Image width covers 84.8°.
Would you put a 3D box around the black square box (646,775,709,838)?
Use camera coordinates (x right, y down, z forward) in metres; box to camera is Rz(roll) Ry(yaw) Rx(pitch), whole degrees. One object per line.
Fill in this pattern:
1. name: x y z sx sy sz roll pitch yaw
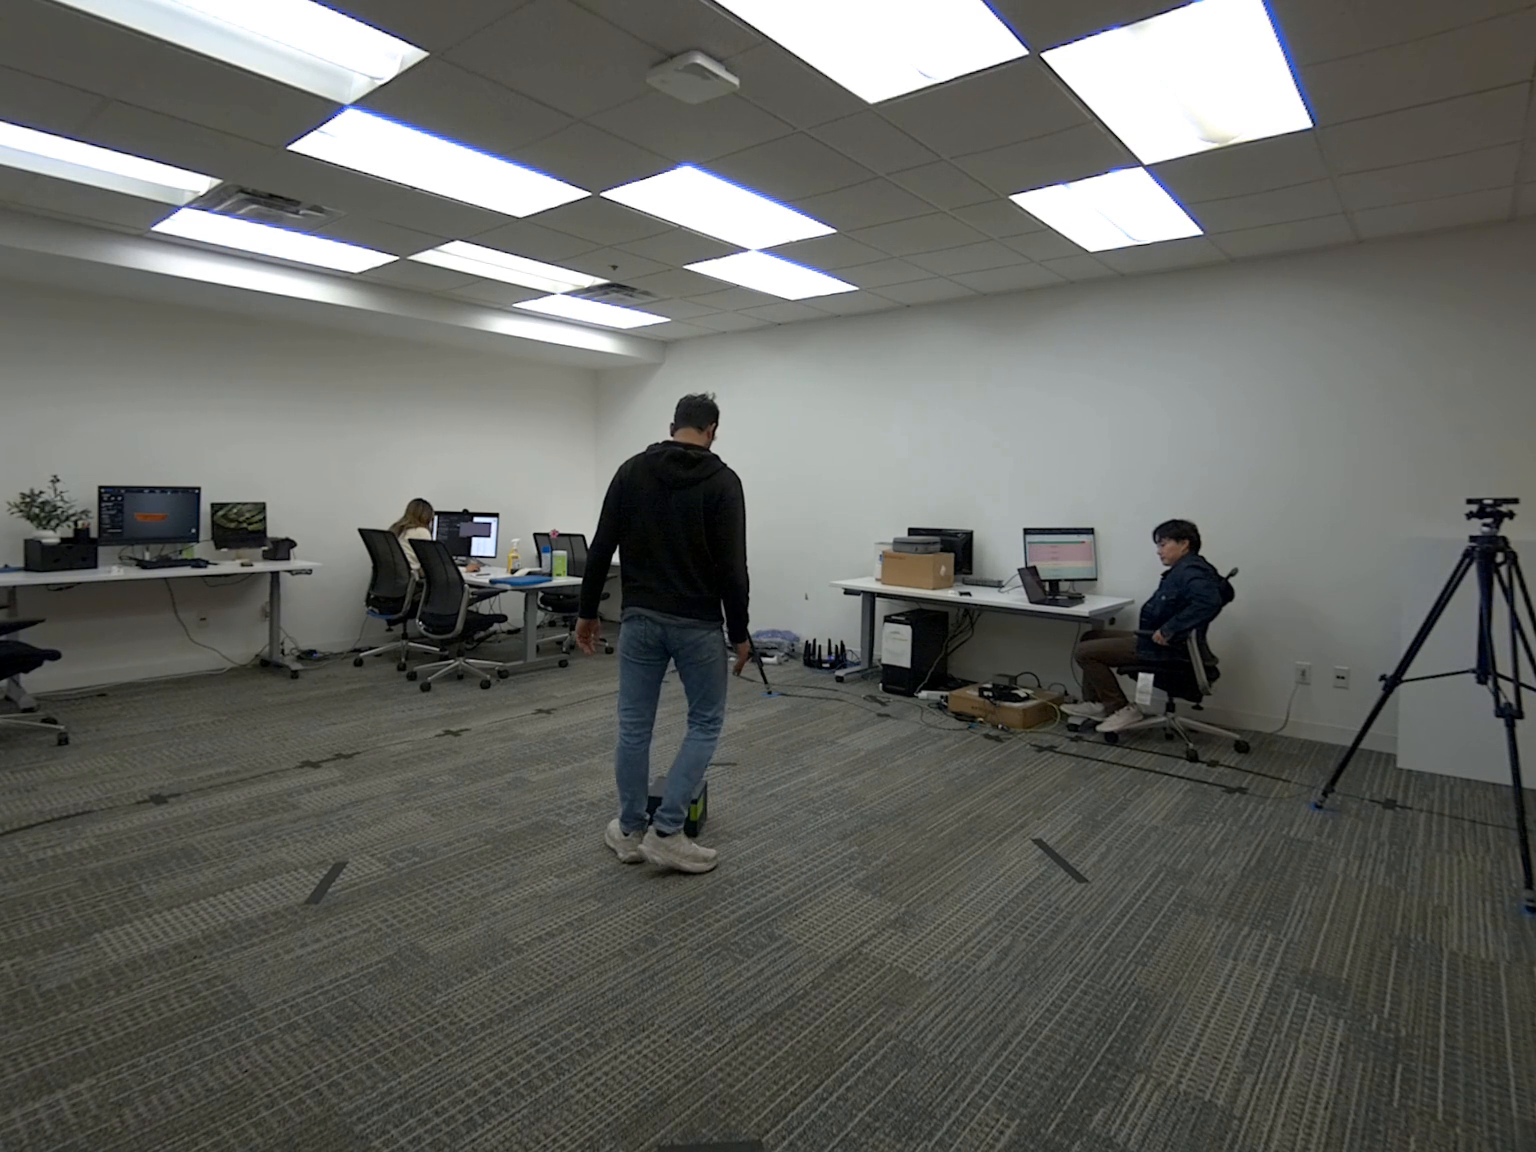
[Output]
1. black square box: -0.387 0.937 3.499 0.219 0.155 0.226 2 5 8
